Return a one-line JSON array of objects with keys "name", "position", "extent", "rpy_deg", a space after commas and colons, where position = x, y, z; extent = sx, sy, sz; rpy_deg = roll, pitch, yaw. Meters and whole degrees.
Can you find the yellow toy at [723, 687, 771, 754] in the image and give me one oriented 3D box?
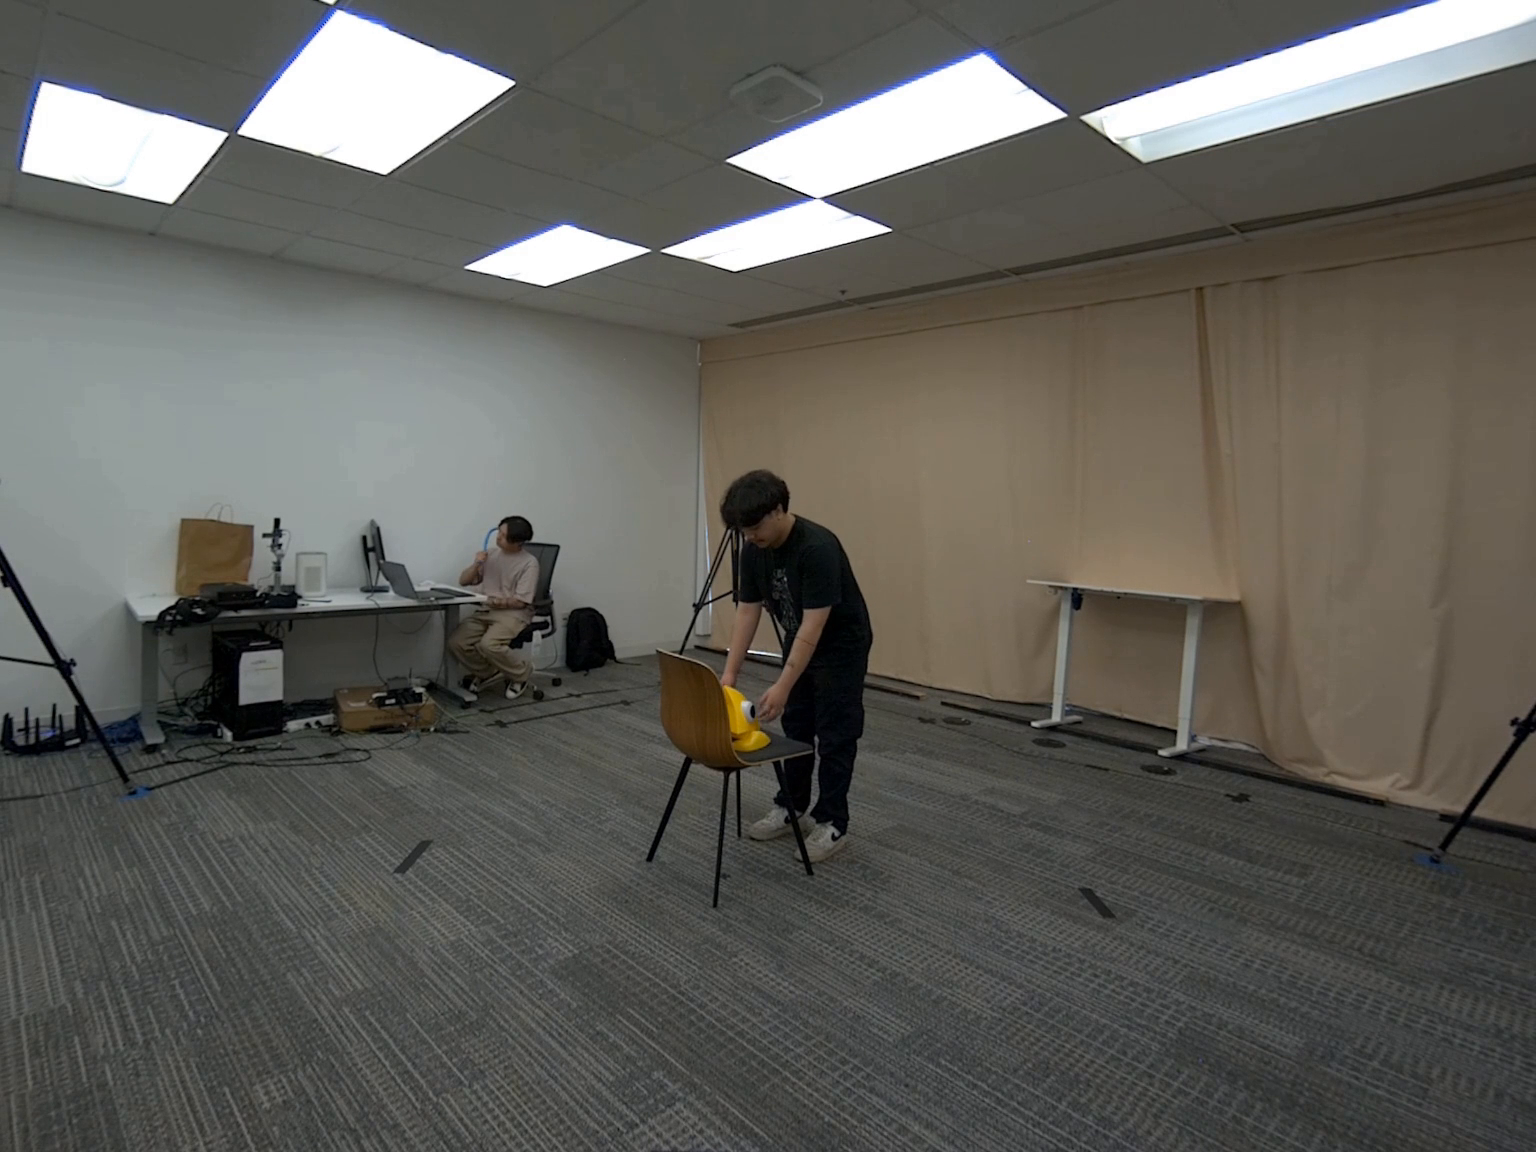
[{"name": "yellow toy", "position": [-0.118, 0.515, 3.142], "extent": [0.189, 0.230, 0.210], "rpy_deg": [-8, 7, -38]}]
